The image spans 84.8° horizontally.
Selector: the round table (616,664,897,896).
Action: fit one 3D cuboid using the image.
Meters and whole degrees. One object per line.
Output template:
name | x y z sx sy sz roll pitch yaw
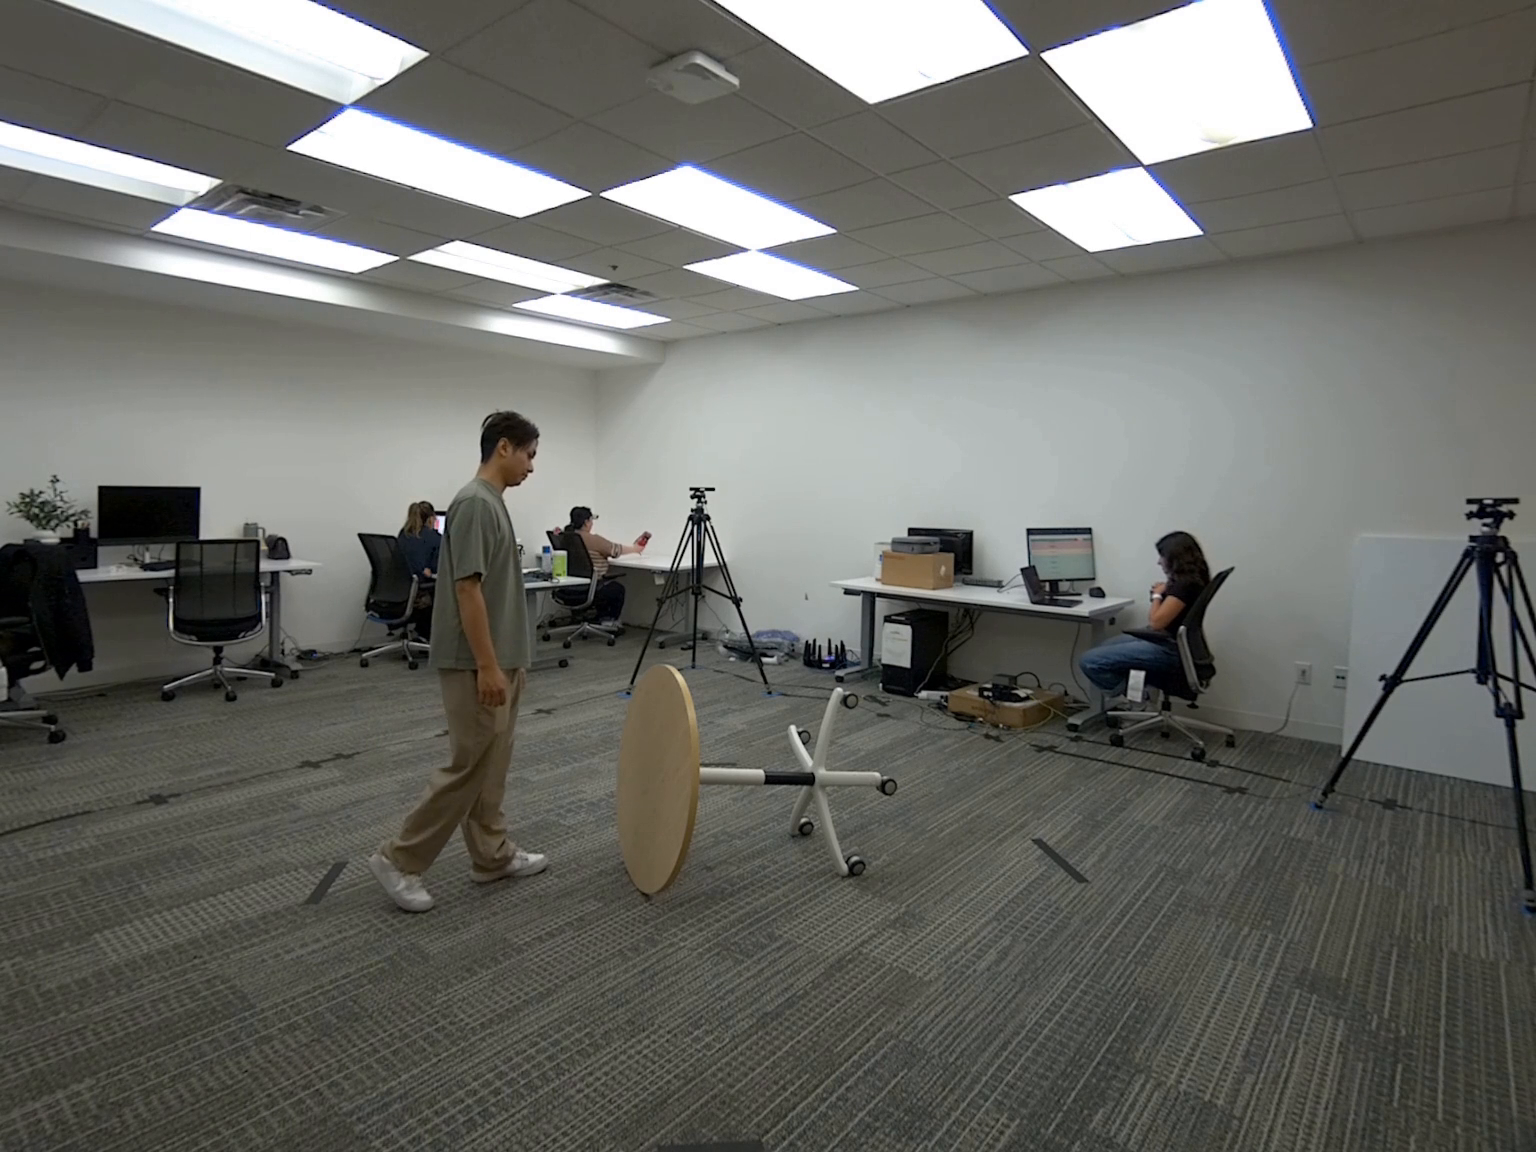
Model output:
round table | -0.067 0.736 3.122 0.767 0.785 0.806 7 1 -24
